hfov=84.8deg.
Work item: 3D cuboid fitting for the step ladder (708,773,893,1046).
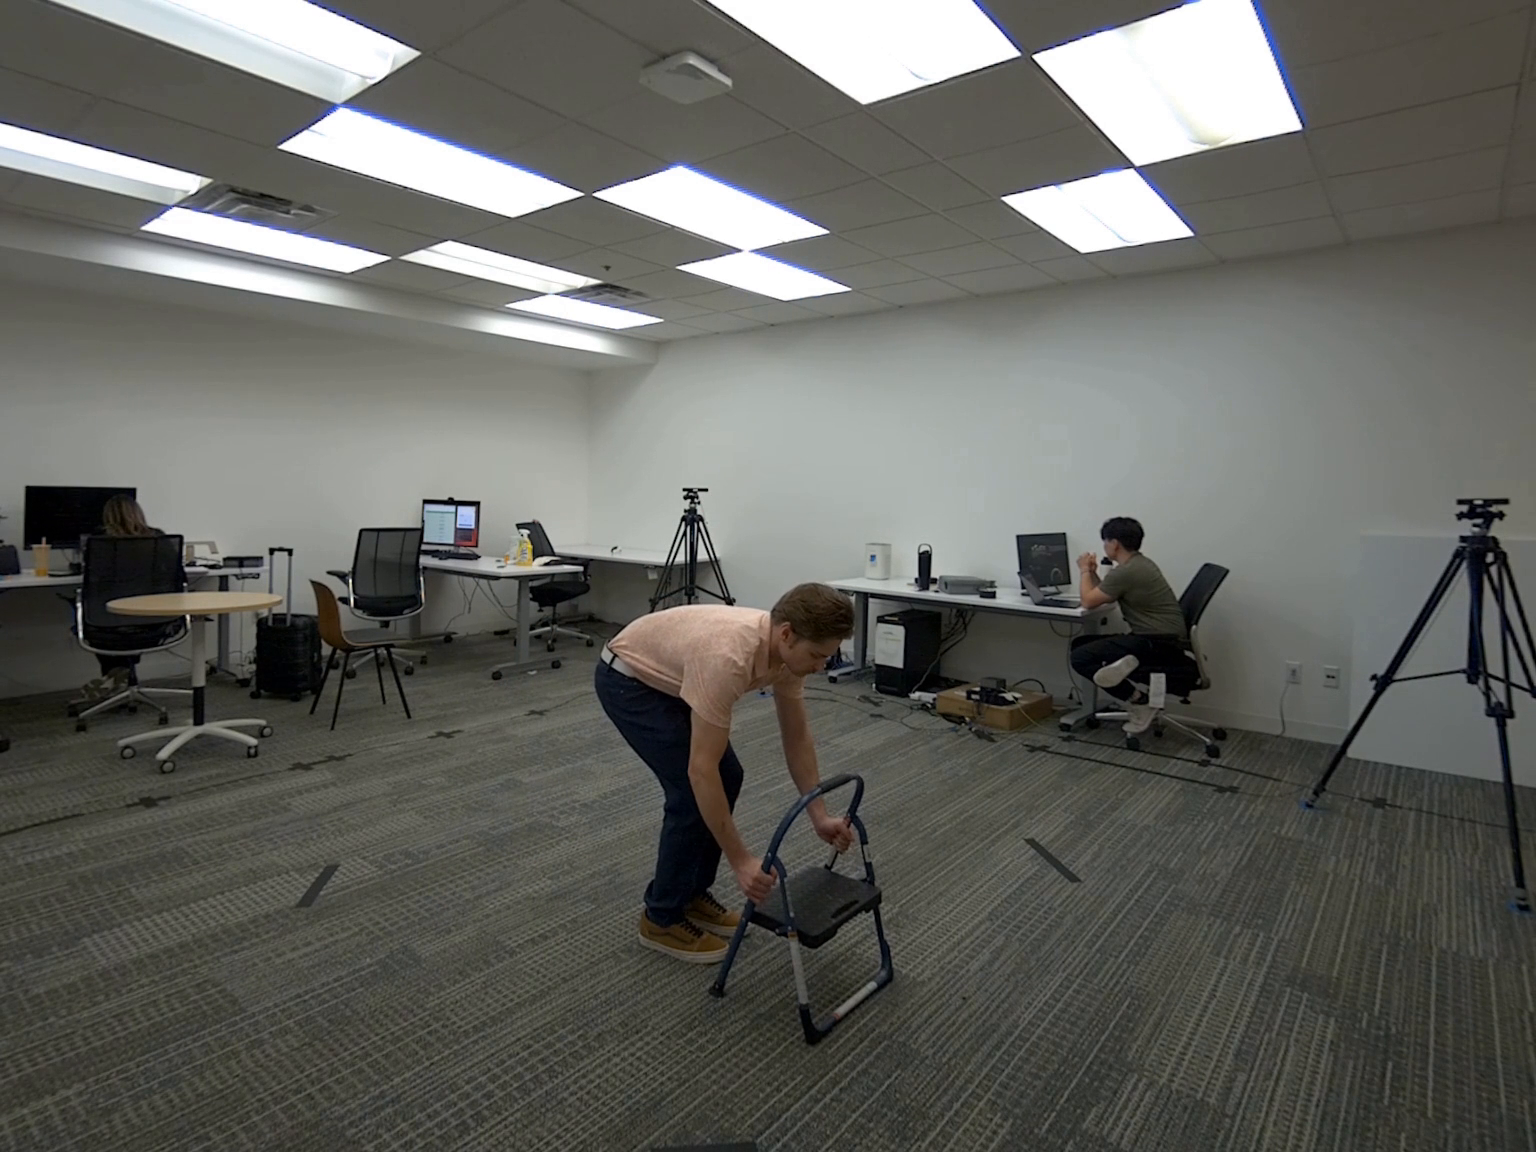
[{"bbox_3d":[0.107,0.849,2.375,0.361,0.604,0.418,5,5,38],"label":"step ladder"}]
